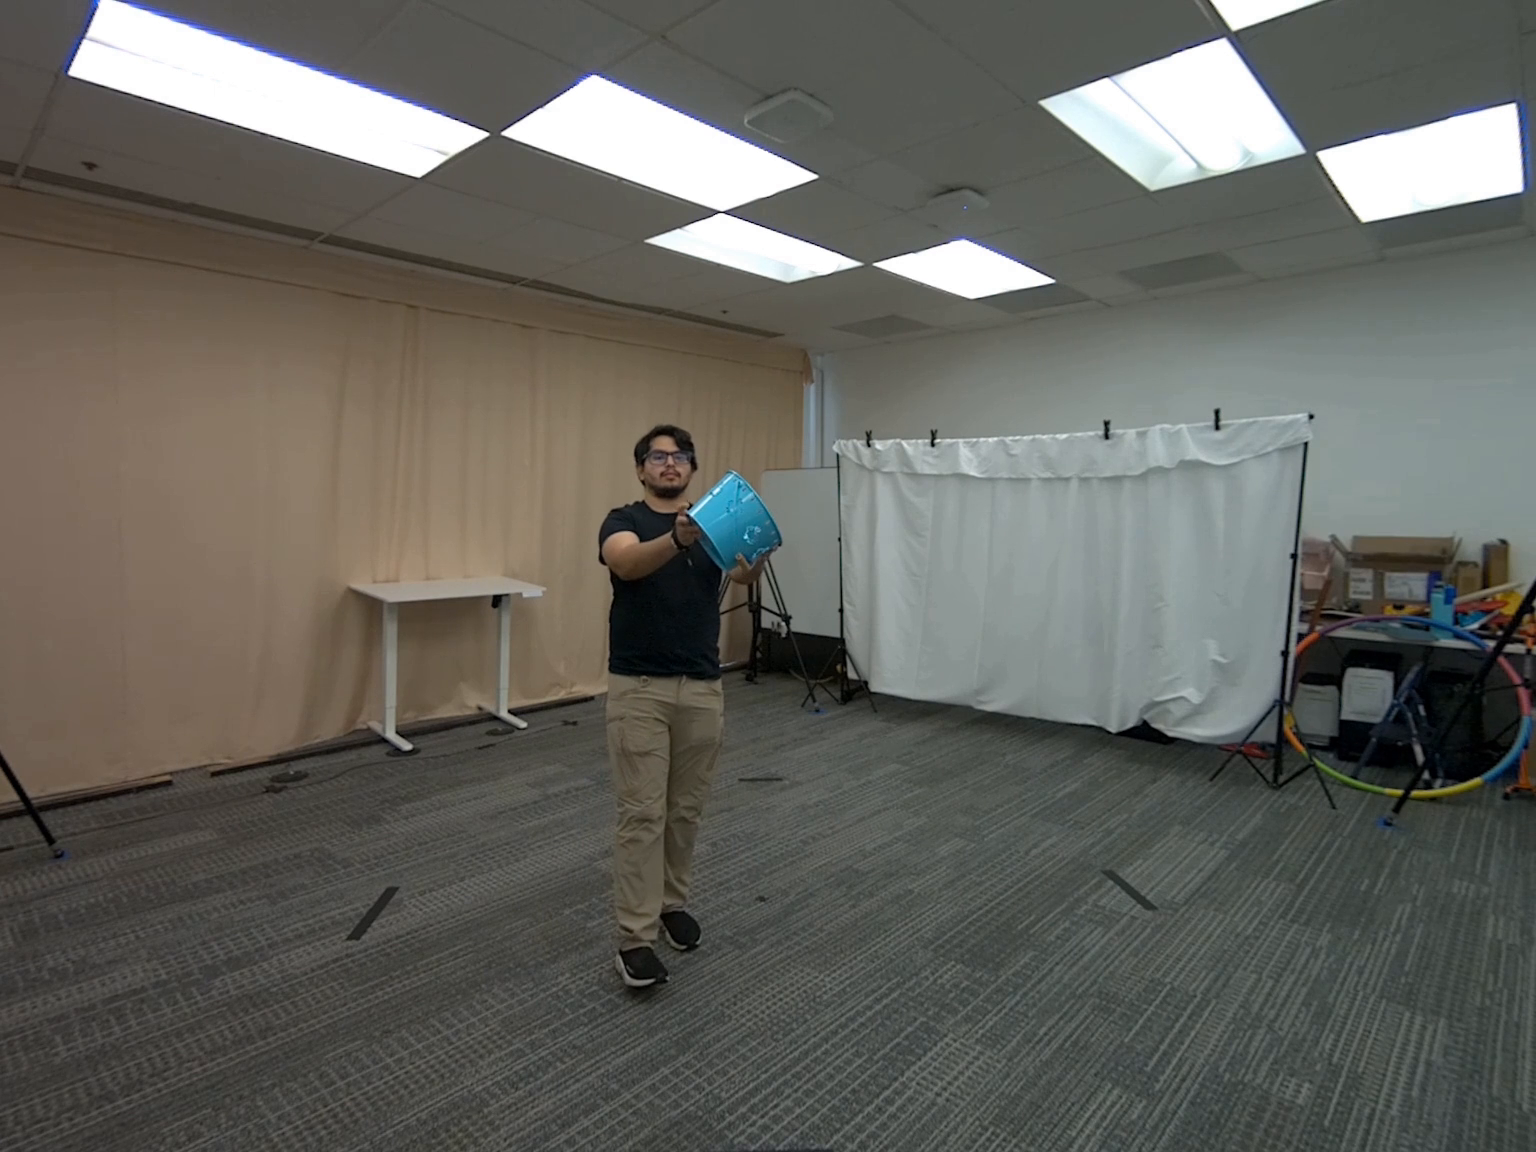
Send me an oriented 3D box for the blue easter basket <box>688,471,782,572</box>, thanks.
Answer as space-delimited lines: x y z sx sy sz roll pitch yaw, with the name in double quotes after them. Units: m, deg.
-0.083 -0.123 2.108 0.155 0.241 0.247 -36 10 -8 "blue easter basket"
